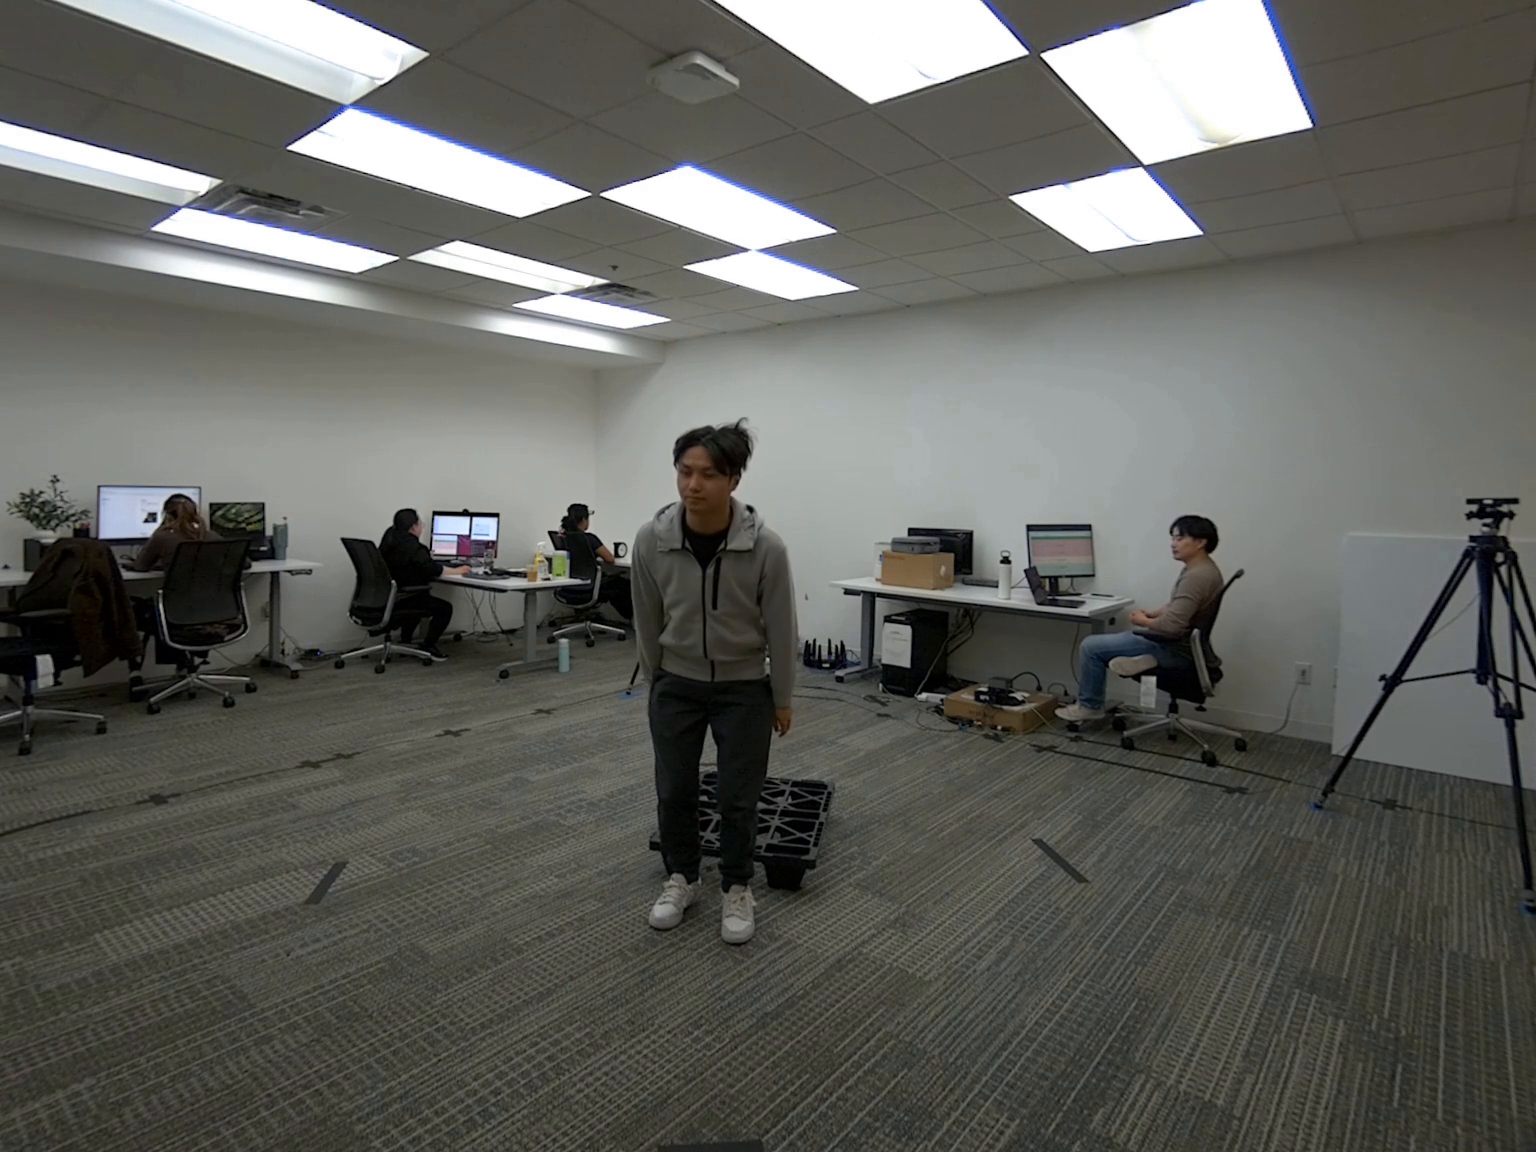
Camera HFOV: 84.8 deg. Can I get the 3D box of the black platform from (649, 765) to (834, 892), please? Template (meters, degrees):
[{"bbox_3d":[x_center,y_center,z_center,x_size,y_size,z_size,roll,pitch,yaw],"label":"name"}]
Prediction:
[{"bbox_3d":[-0.080,0.978,3.346,0.613,0.143,0.798,2,5,10],"label":"black platform"}]
